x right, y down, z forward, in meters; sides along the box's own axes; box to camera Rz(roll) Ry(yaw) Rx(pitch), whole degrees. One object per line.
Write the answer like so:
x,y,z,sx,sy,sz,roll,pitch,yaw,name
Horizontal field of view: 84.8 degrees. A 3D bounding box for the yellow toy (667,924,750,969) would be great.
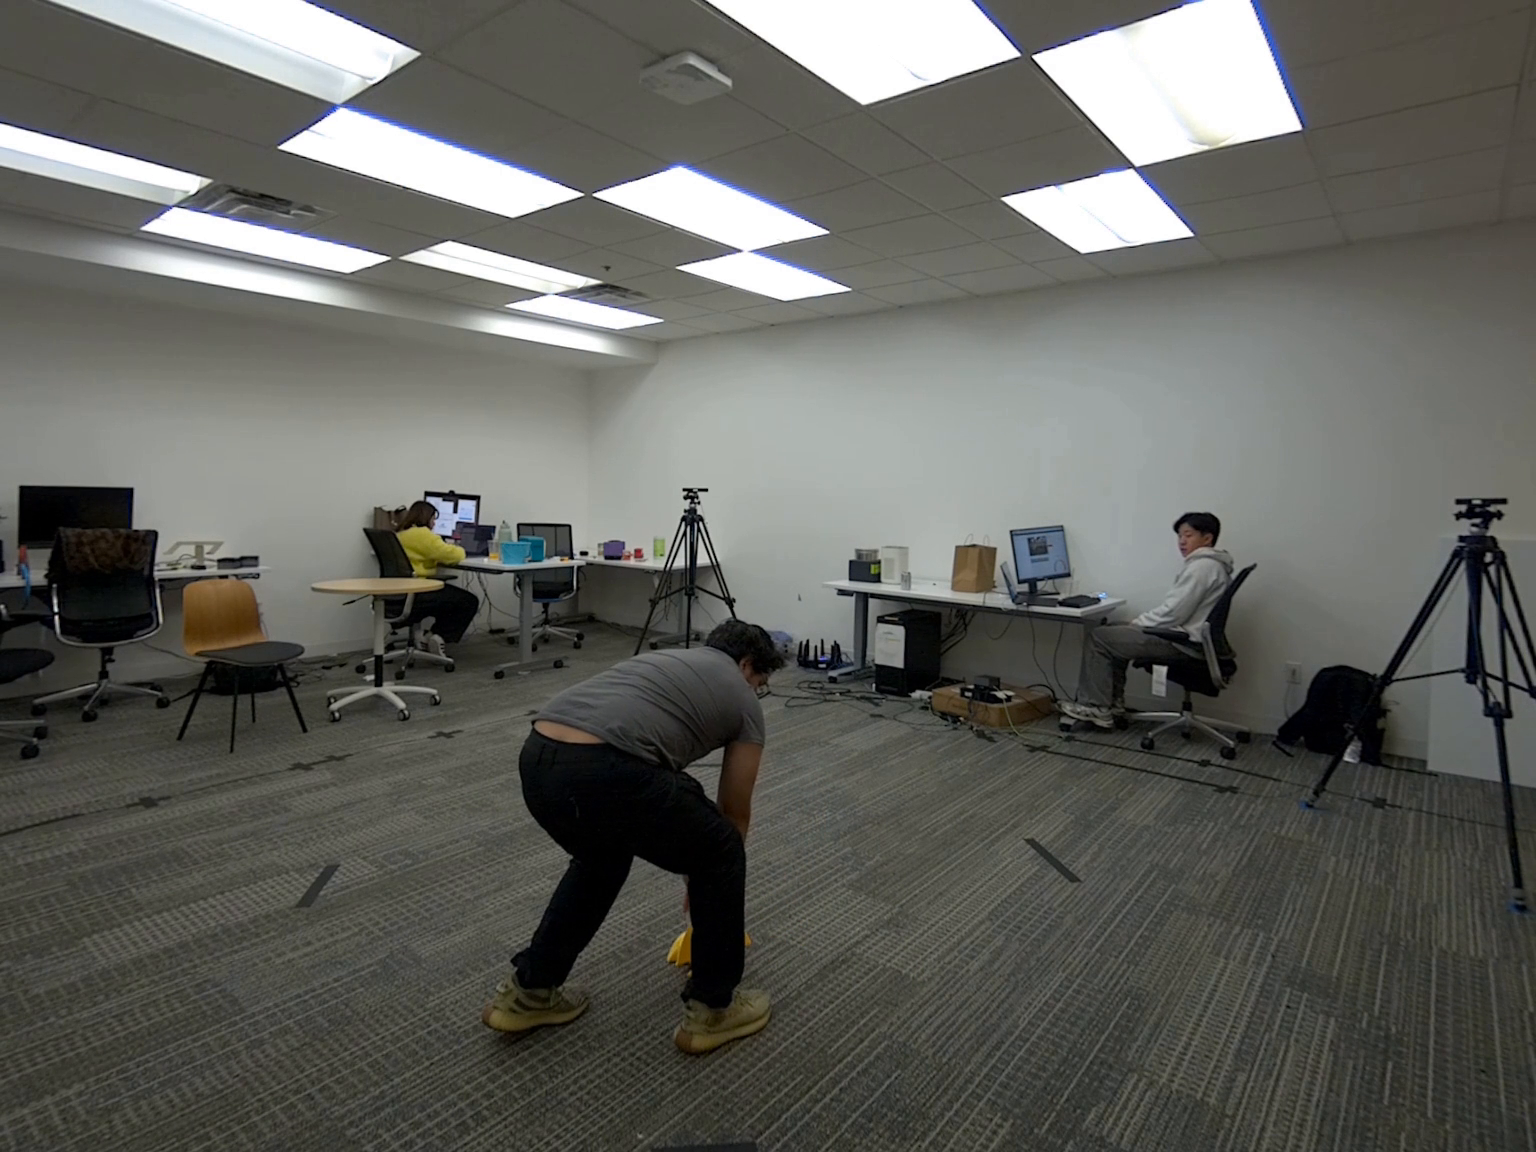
-0.184,1.017,2.485,0.187,0.230,0.211,-1,5,-36,yellow toy
